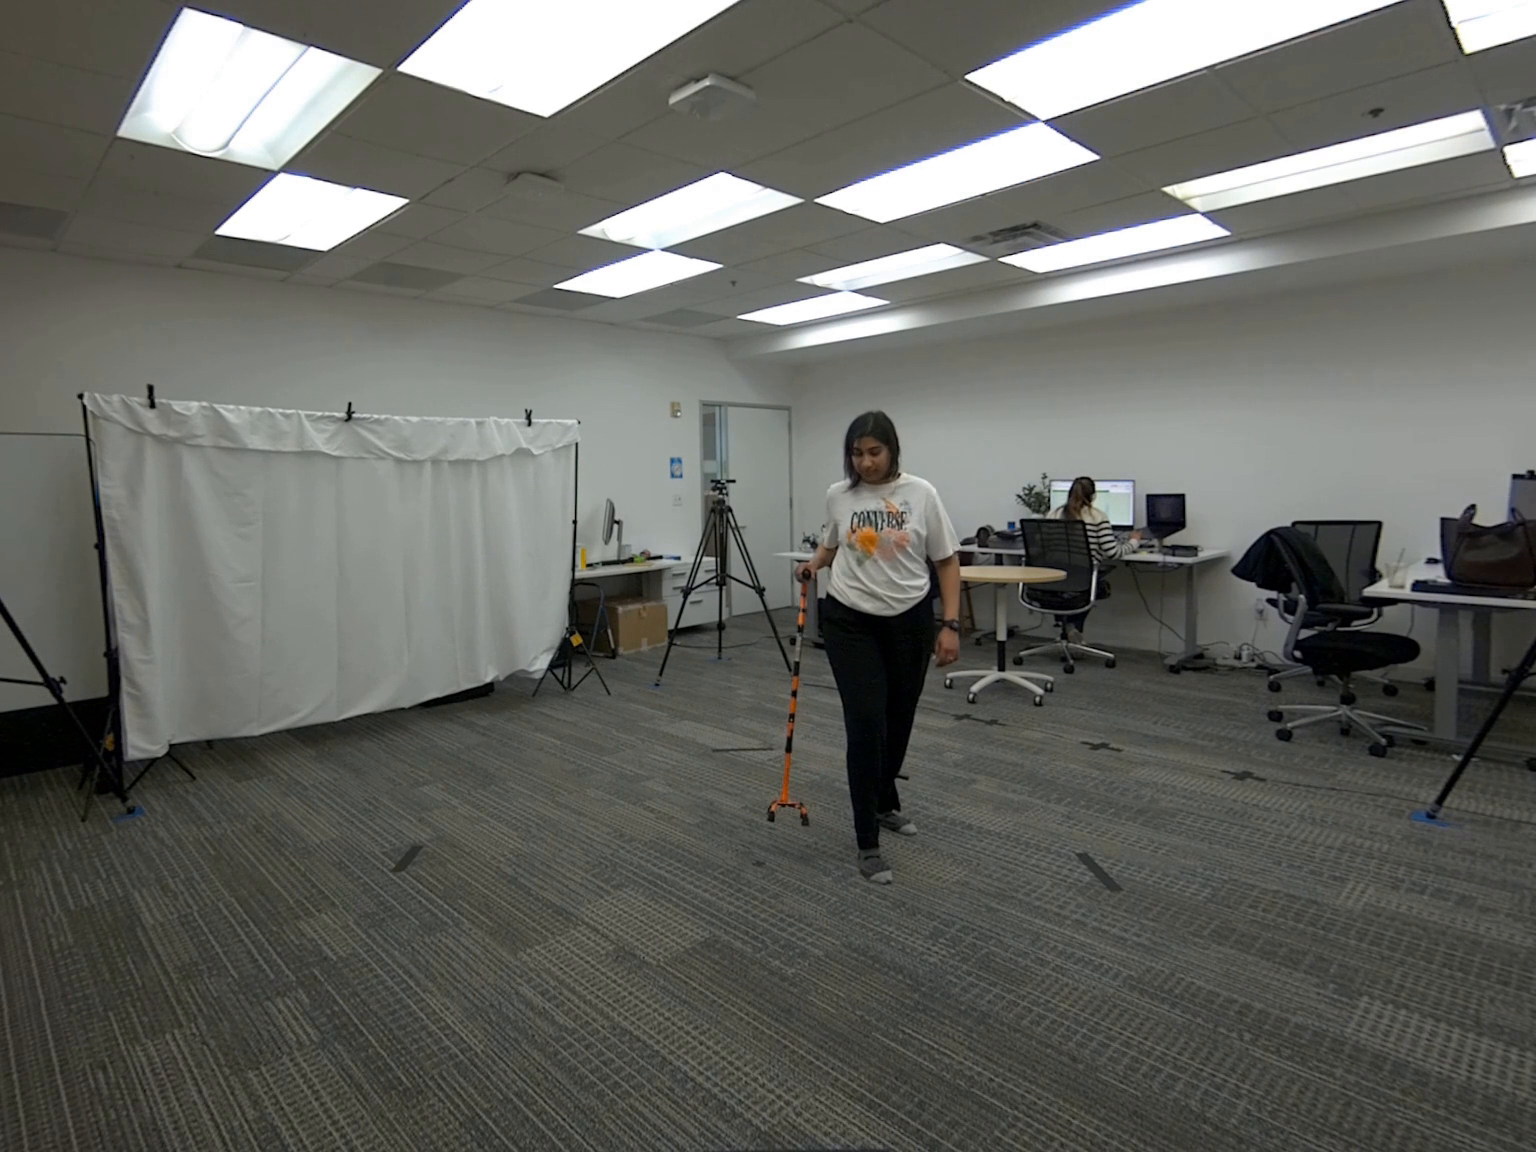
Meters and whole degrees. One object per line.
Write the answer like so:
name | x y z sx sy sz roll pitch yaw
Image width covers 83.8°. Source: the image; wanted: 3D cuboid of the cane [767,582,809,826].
cane | 0.116 0.440 3.177 0.152 0.914 0.204 5 -8 2
